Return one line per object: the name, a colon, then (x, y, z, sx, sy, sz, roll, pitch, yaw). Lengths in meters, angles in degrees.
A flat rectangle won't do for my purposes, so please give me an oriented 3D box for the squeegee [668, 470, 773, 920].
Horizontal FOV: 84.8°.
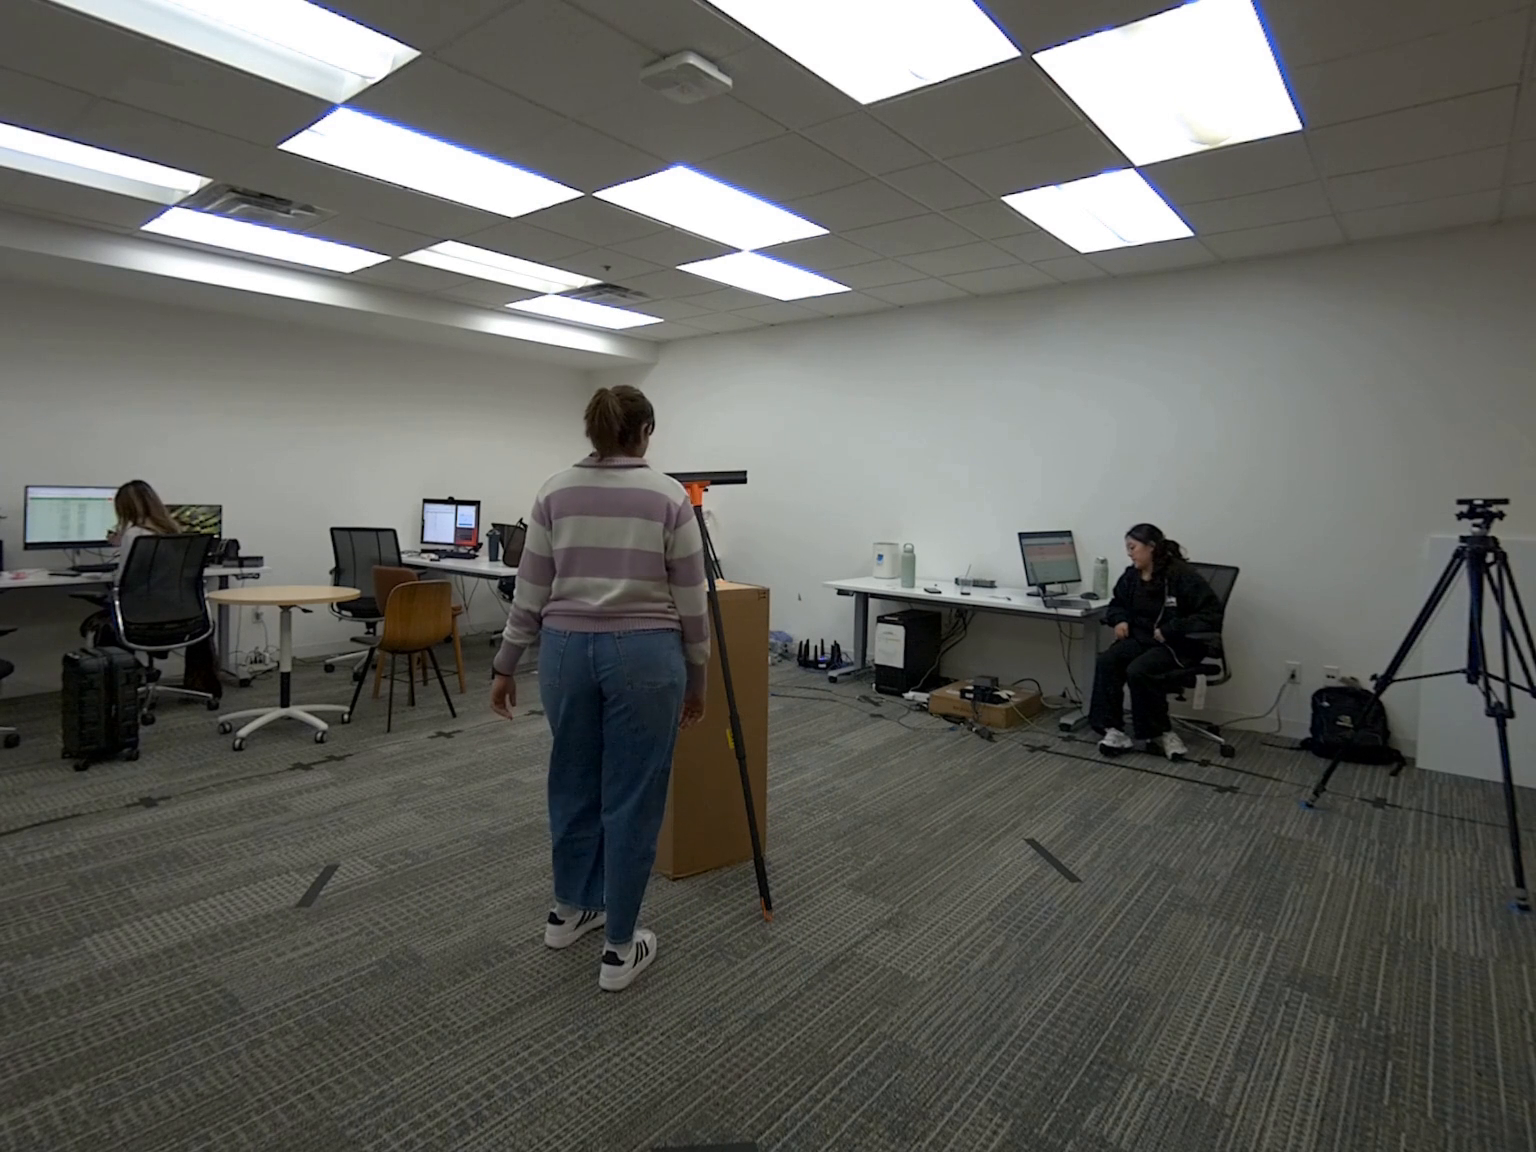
squeegee: (-0.149, 0.359, 2.948, 0.427, 1.565, 0.053, -5, -17, -26)
